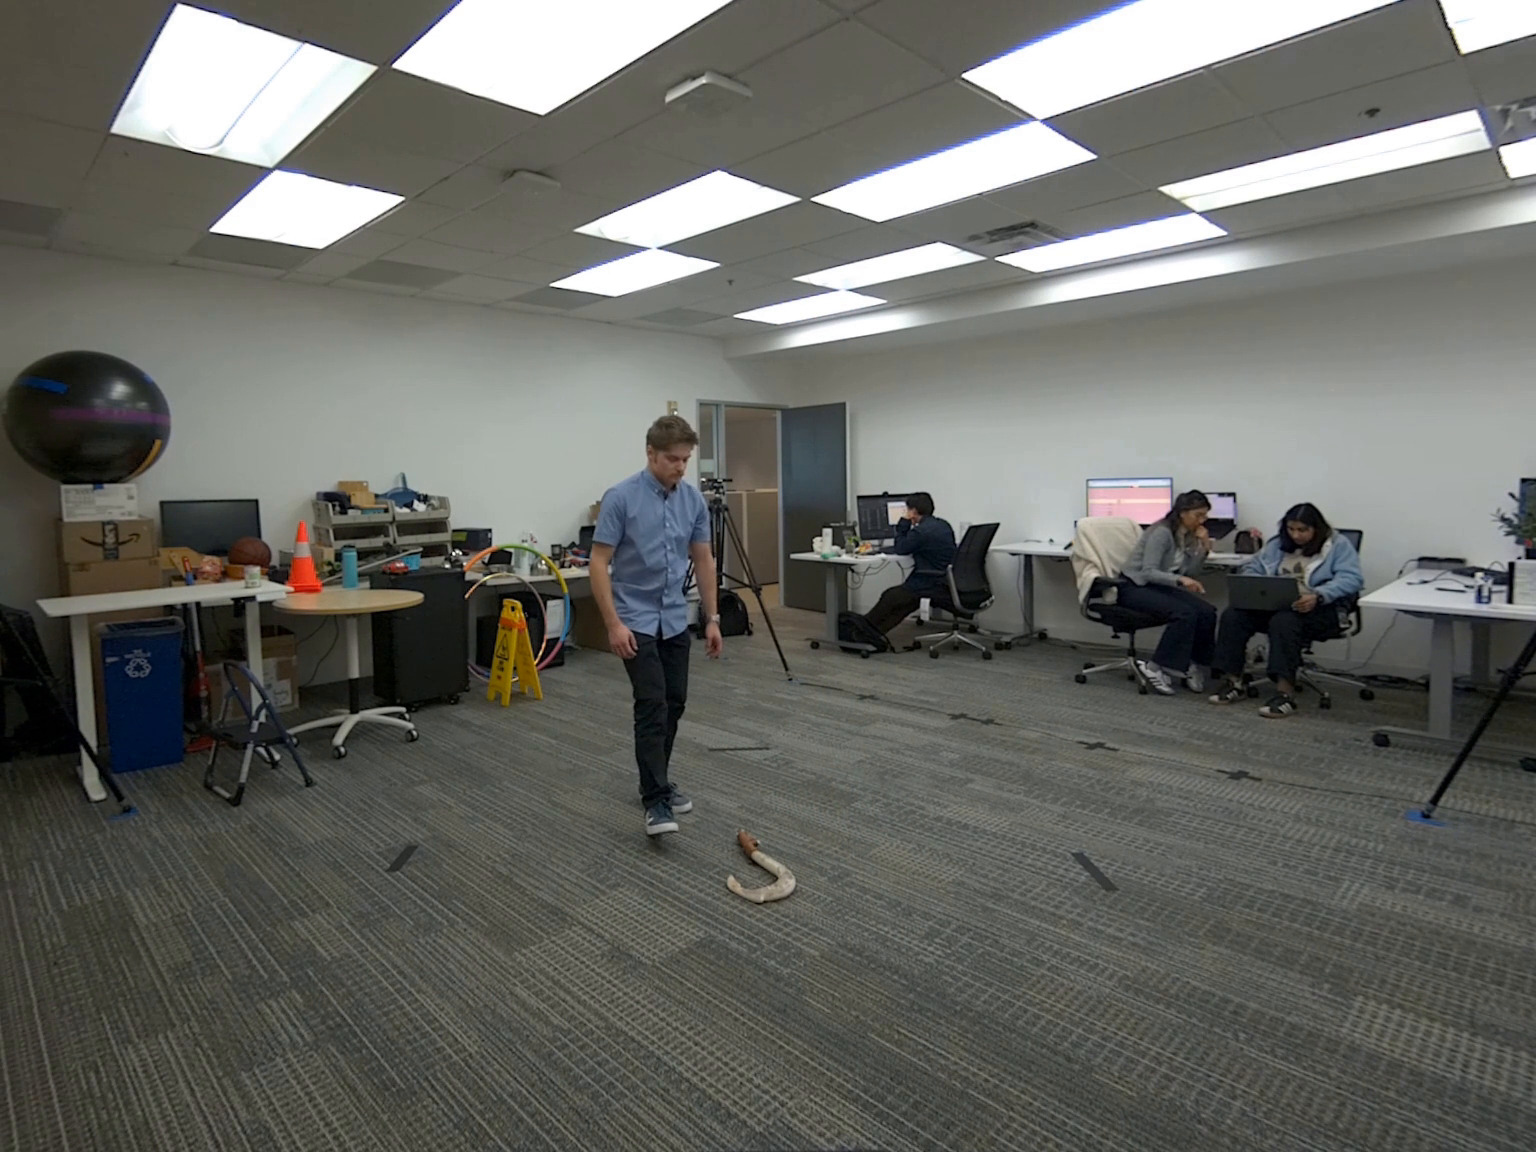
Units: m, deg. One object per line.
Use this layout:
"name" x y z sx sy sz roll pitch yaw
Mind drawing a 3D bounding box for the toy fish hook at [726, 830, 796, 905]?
"toy fish hook" -0.065 1.028 3.052 0.221 0.048 0.517 -3 6 -19
